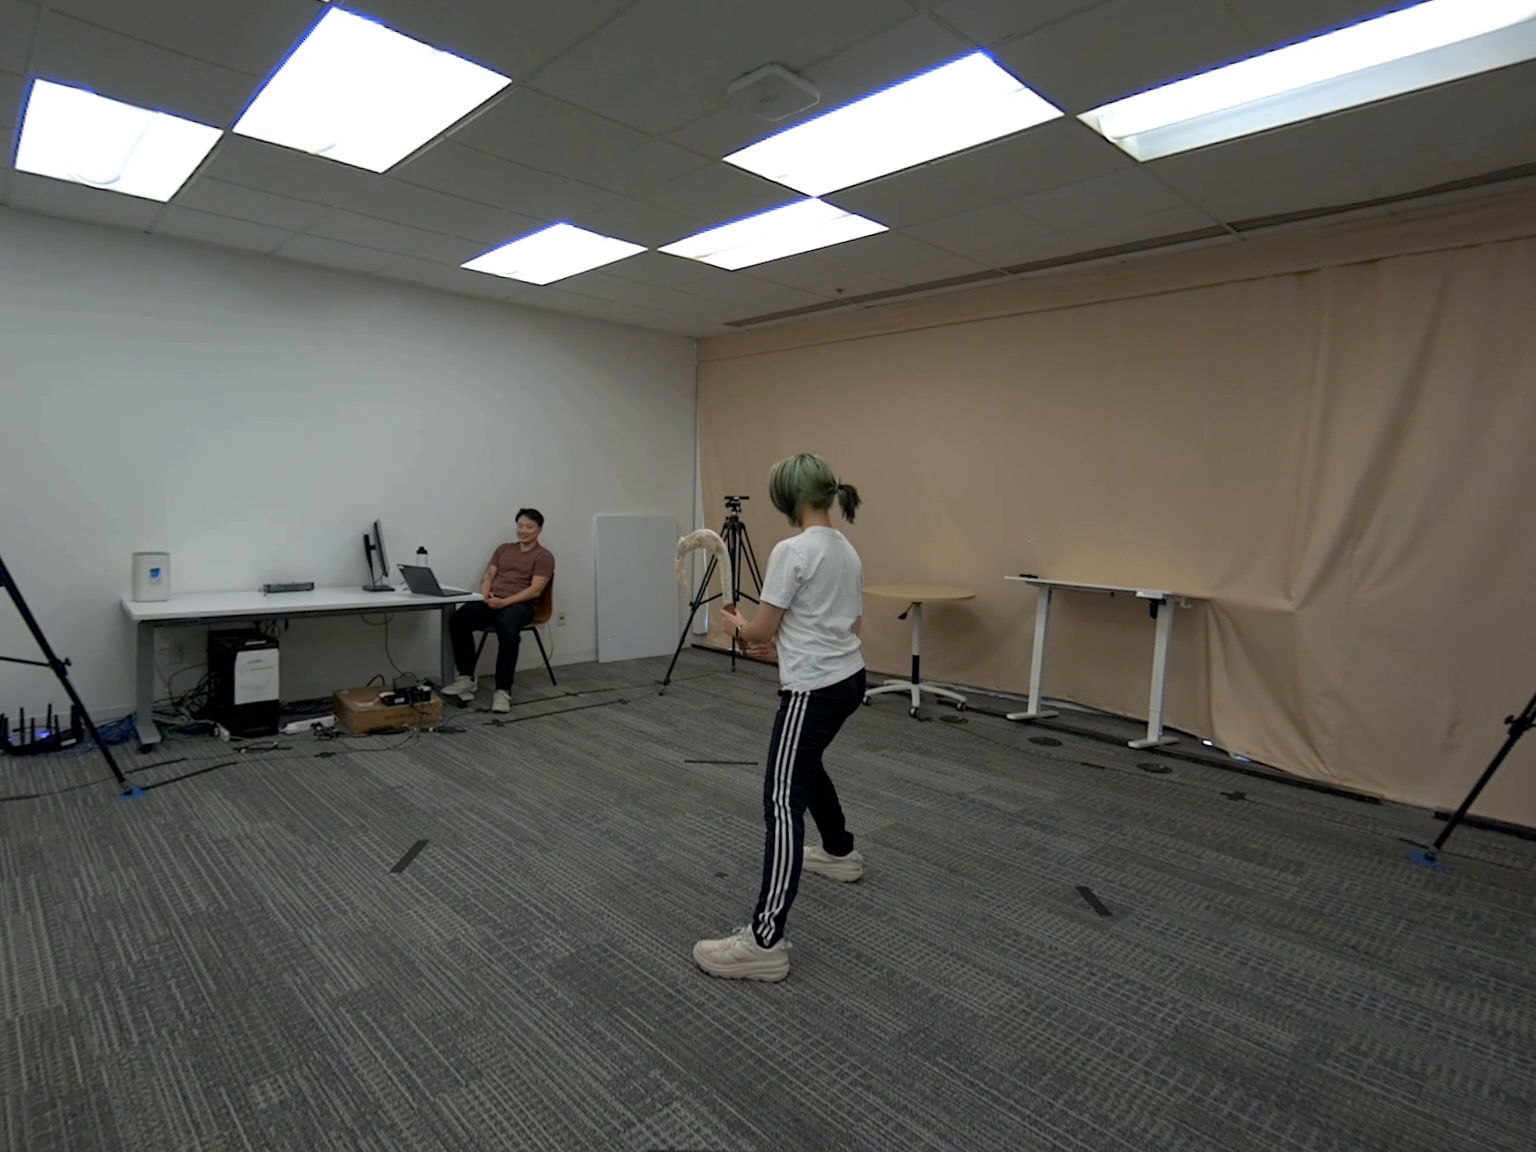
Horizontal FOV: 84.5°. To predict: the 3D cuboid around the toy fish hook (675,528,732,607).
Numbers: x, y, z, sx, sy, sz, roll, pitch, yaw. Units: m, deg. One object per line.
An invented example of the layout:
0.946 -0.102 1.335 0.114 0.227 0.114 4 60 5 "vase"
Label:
-0.218 0.077 3.136 0.226 0.512 0.047 -25 -12 19 "toy fish hook"
